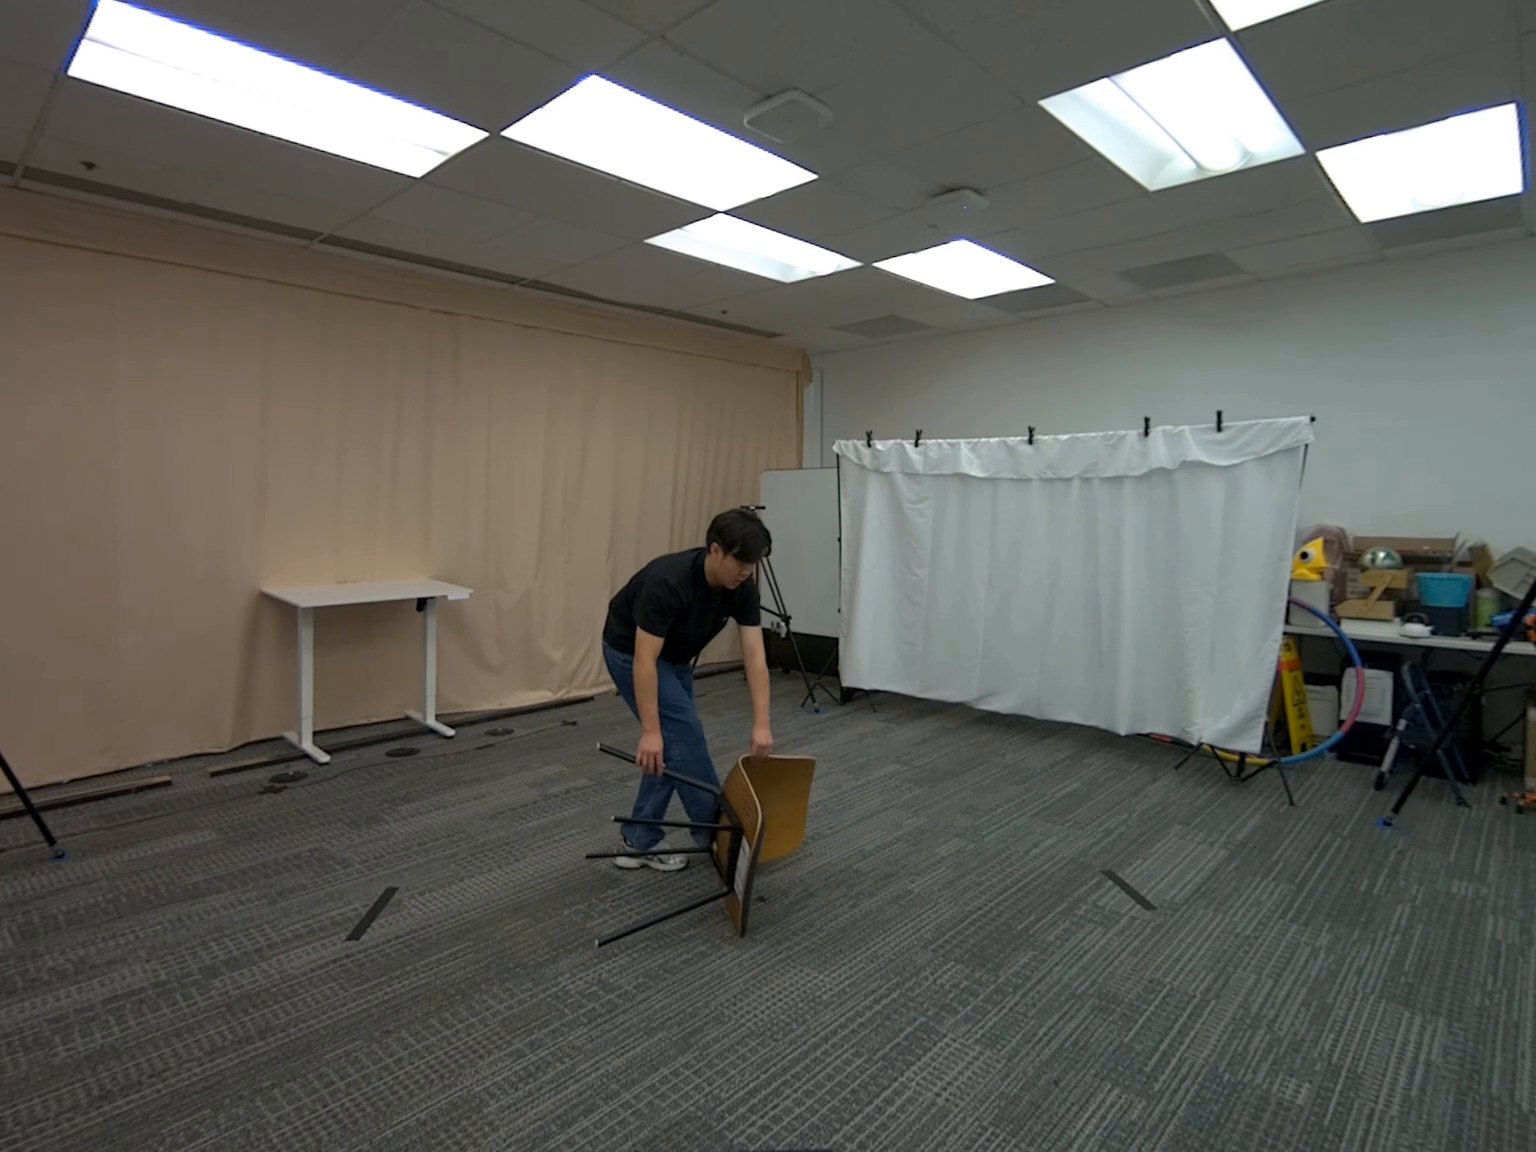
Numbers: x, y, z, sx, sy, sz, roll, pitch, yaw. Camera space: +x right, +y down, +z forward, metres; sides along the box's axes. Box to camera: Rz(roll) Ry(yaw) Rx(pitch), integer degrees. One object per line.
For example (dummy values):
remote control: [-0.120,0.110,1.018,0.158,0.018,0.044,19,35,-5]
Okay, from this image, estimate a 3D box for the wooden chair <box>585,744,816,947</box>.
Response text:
wooden chair: [-0.143,0.898,2.851,0.858,0.475,0.538,4,15,-21]
